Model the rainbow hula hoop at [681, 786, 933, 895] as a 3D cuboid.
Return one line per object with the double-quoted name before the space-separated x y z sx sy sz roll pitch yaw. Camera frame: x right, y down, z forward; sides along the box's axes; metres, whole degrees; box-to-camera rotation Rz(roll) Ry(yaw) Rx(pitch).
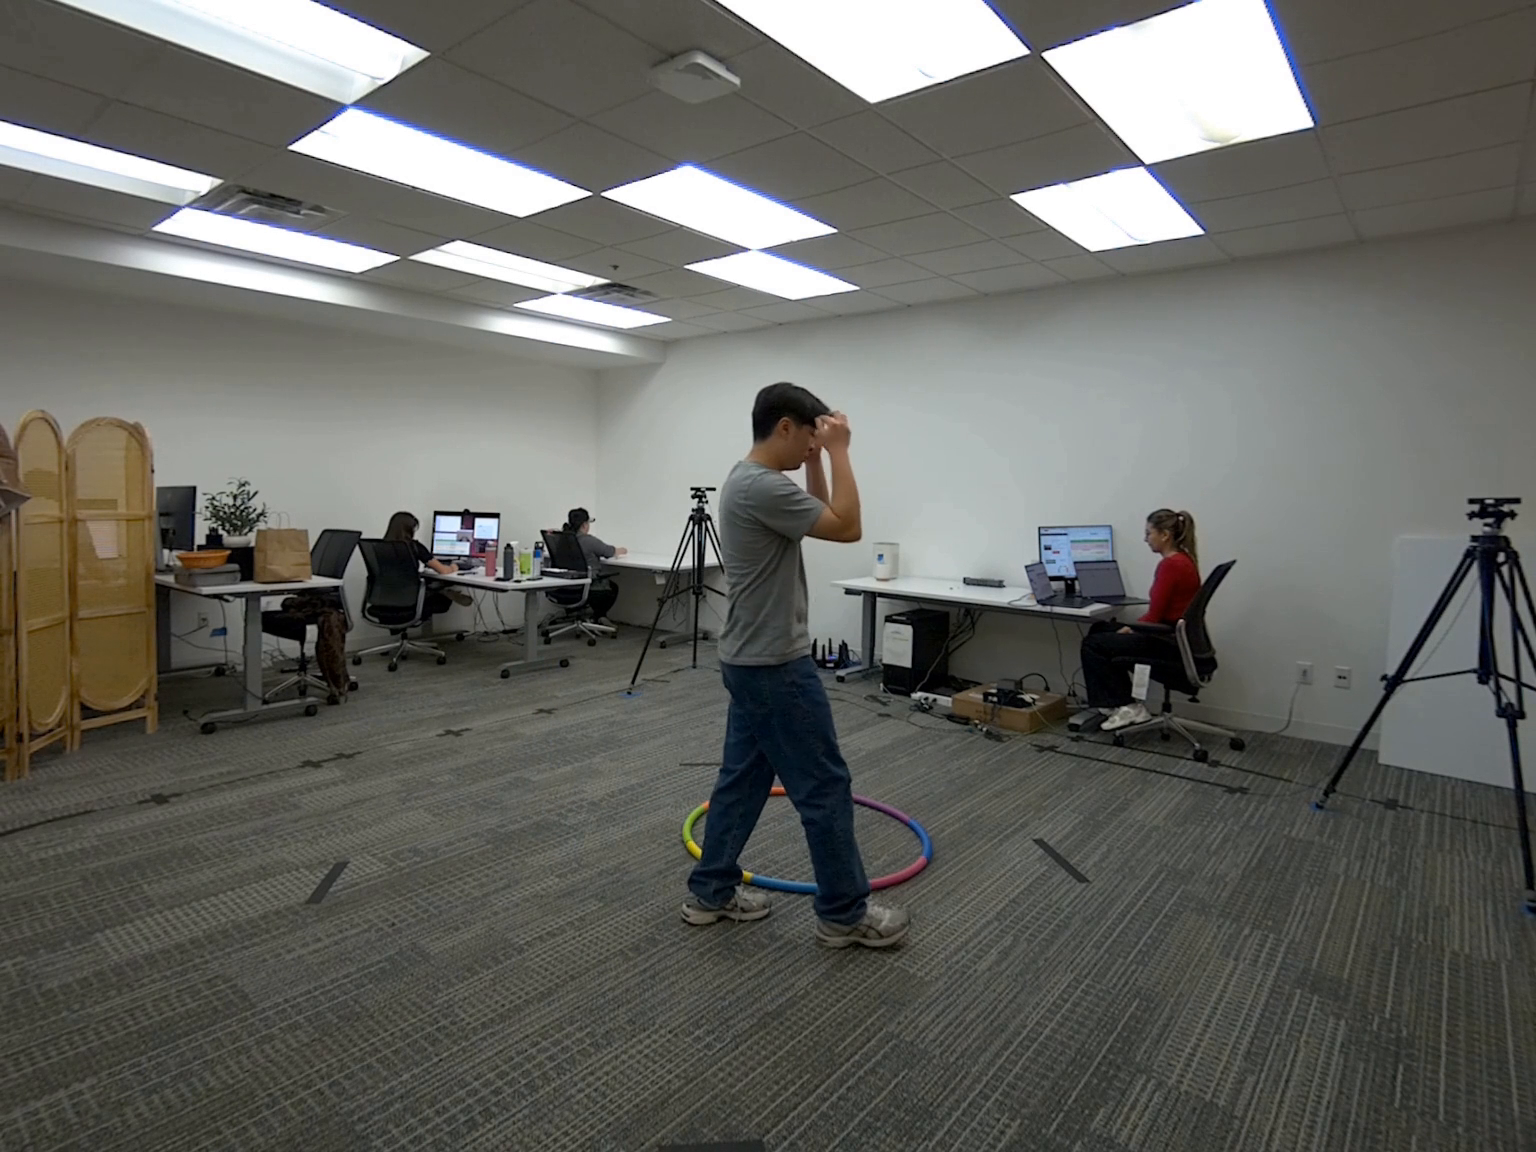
"rainbow hula hoop" 0.138 1.016 3.396 0.978 0.035 0.984 1 6 -2
